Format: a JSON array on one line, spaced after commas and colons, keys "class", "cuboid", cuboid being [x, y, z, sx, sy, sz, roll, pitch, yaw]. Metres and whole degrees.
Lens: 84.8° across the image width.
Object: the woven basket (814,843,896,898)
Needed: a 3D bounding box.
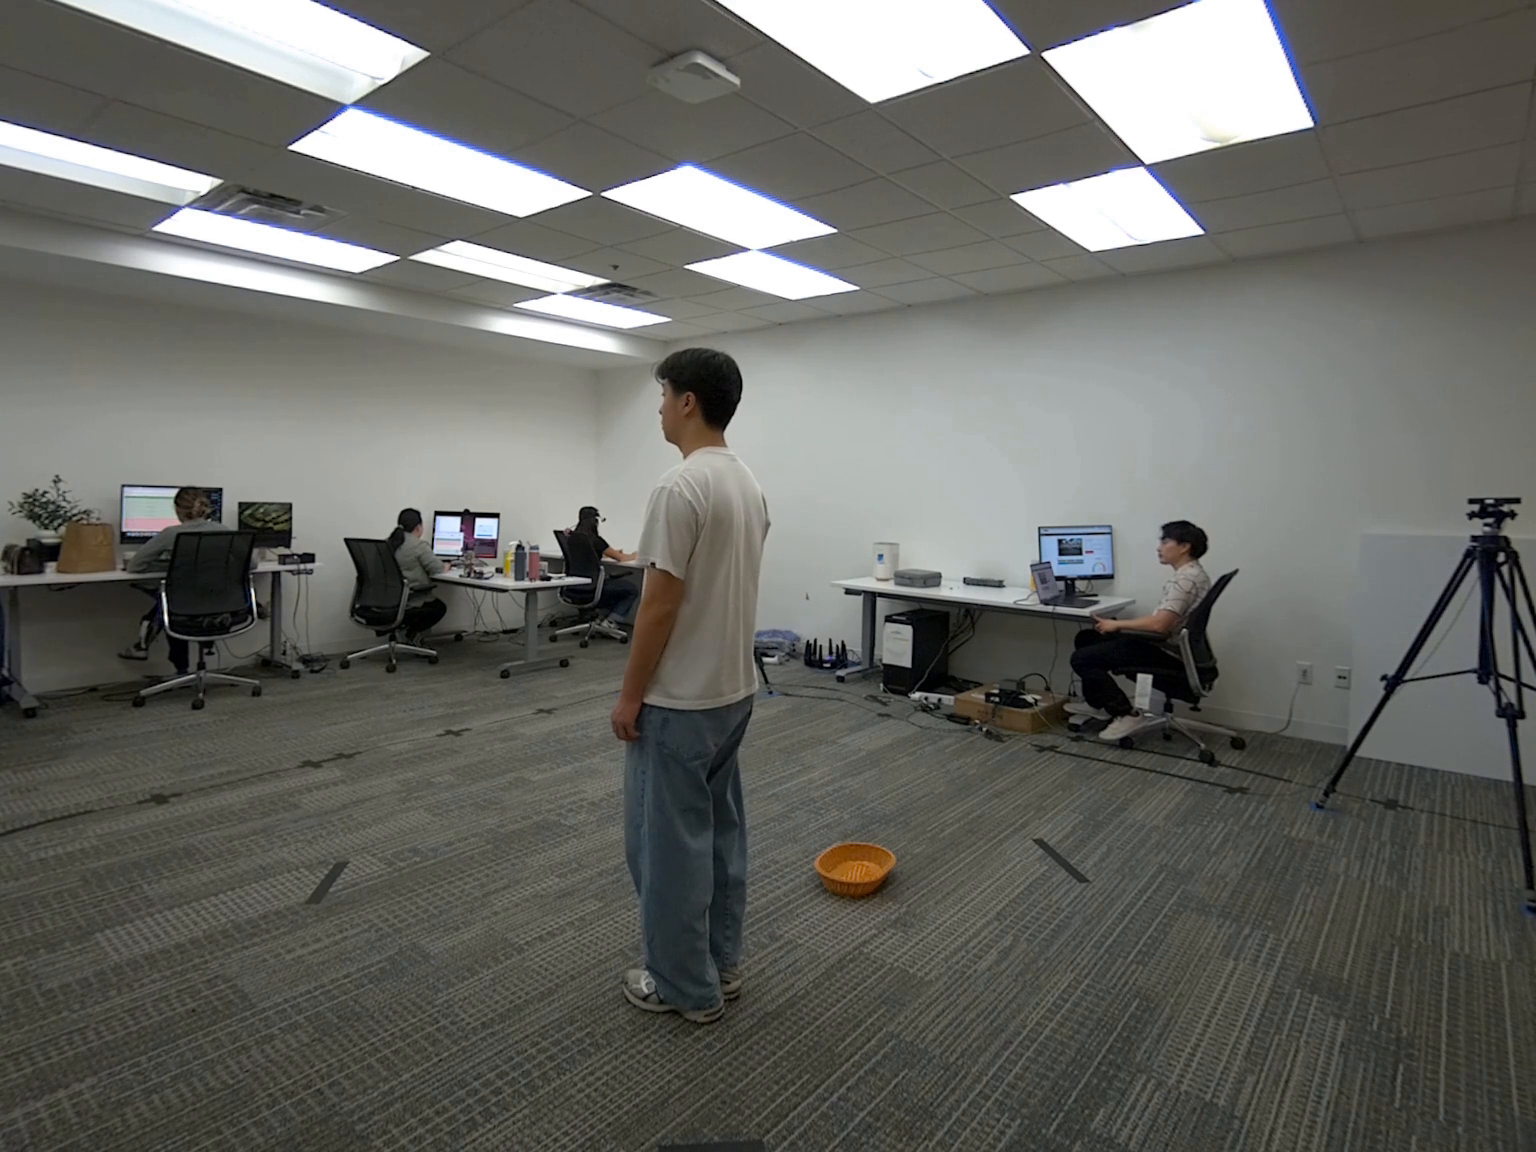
[{"class": "woven basket", "cuboid": [0.300, 1.045, 3.046, 0.260, 0.073, 0.341, 5, 7, 34]}]
